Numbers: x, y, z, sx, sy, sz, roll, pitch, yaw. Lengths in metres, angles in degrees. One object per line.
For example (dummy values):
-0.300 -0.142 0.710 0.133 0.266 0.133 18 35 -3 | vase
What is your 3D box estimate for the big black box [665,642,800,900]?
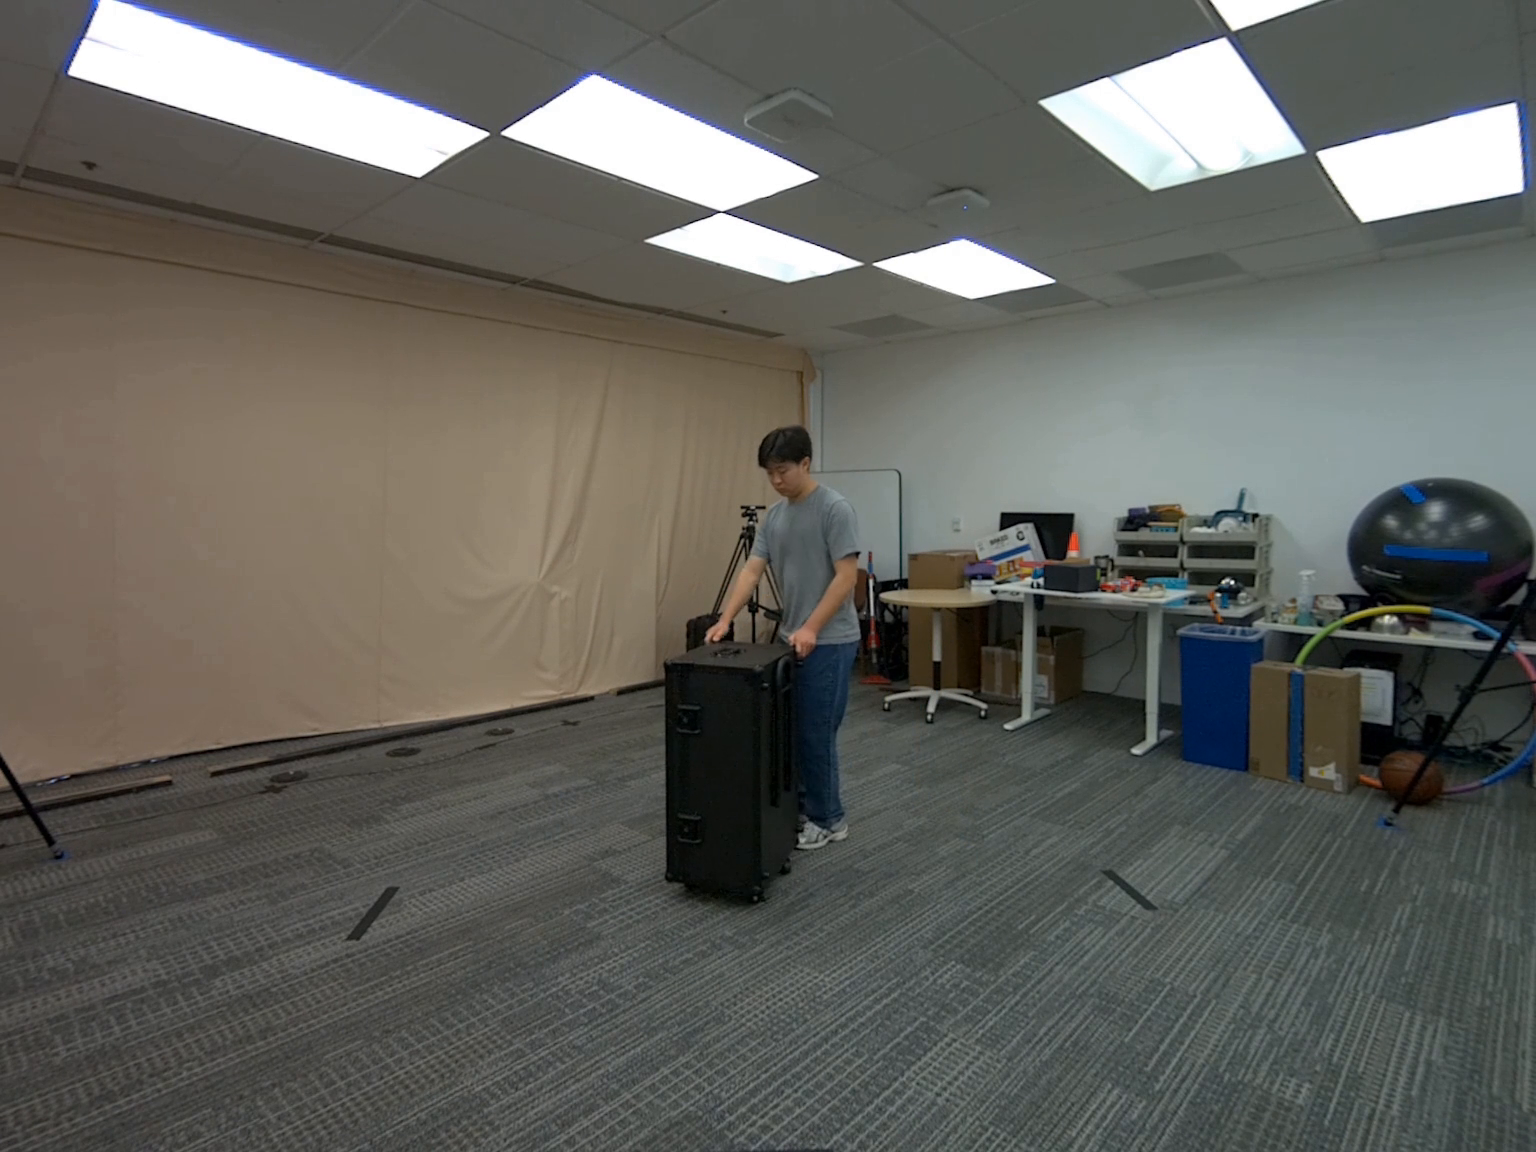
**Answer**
-0.113 0.706 3.115 0.404 0.860 0.511 1 3 19 | big black box
